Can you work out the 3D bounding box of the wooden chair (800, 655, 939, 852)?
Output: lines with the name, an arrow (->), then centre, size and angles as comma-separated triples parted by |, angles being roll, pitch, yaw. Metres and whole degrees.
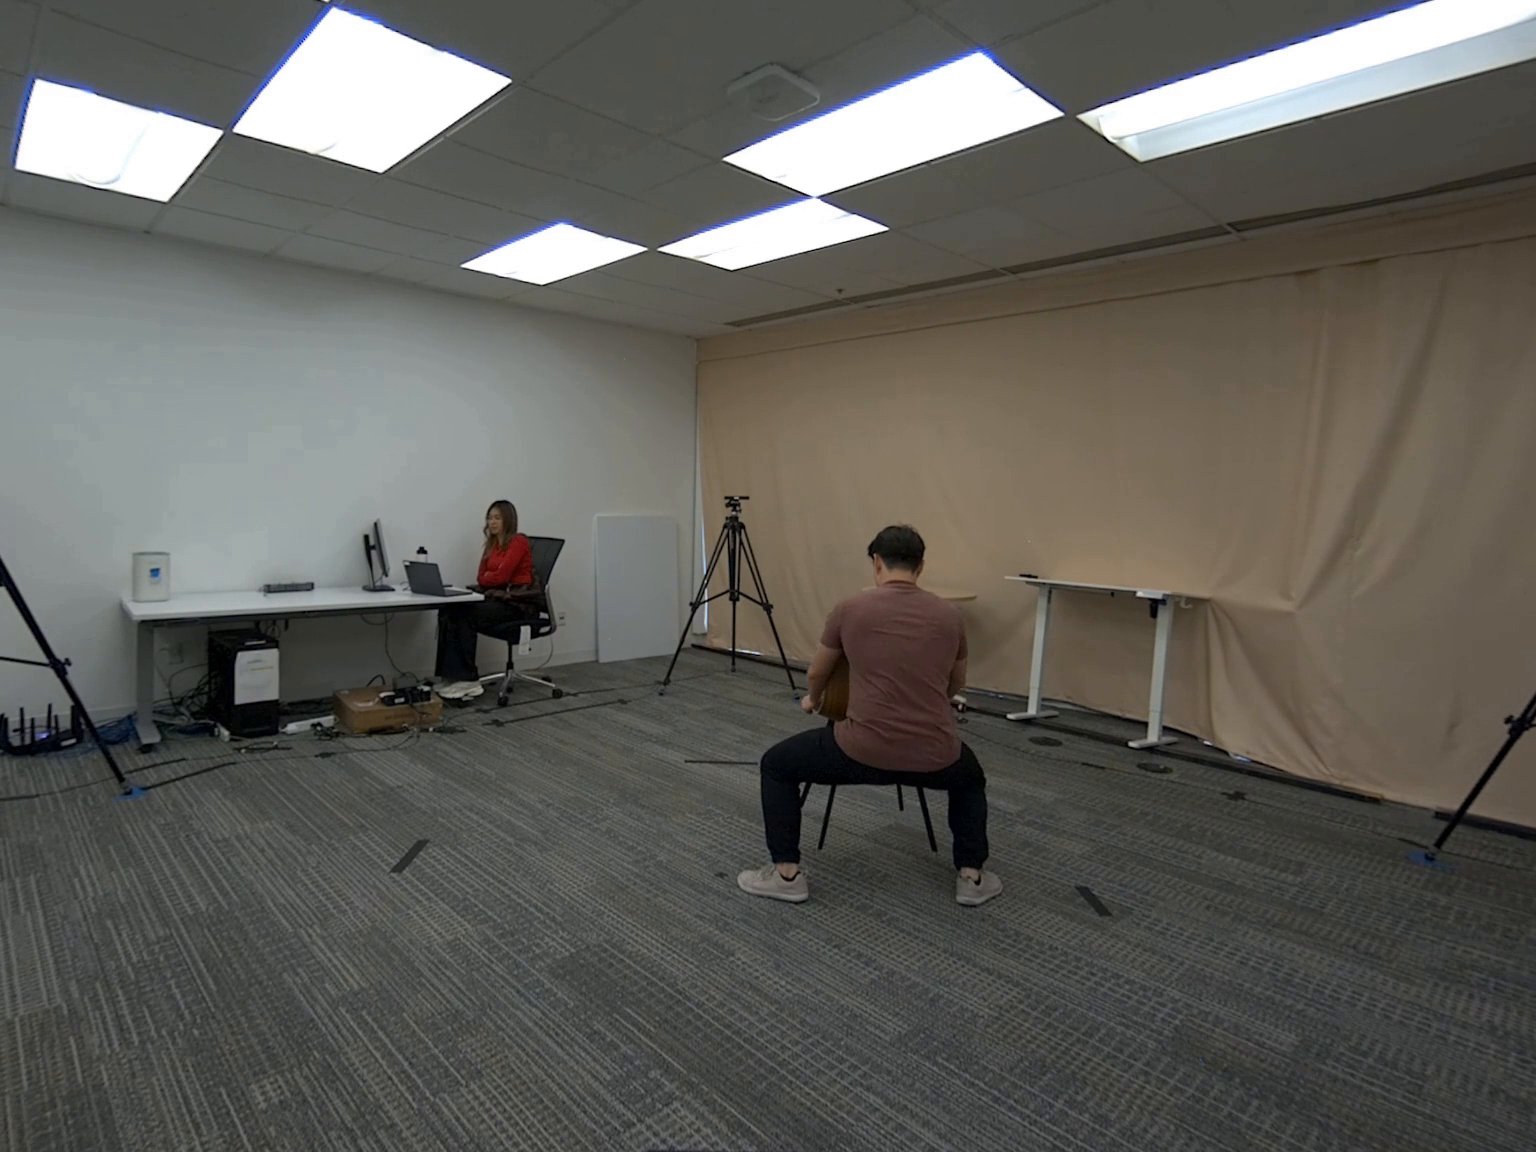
wooden chair -> 0.390, 0.574, 3.336 | 0.475, 0.873, 0.528 | 3, 6, -7
